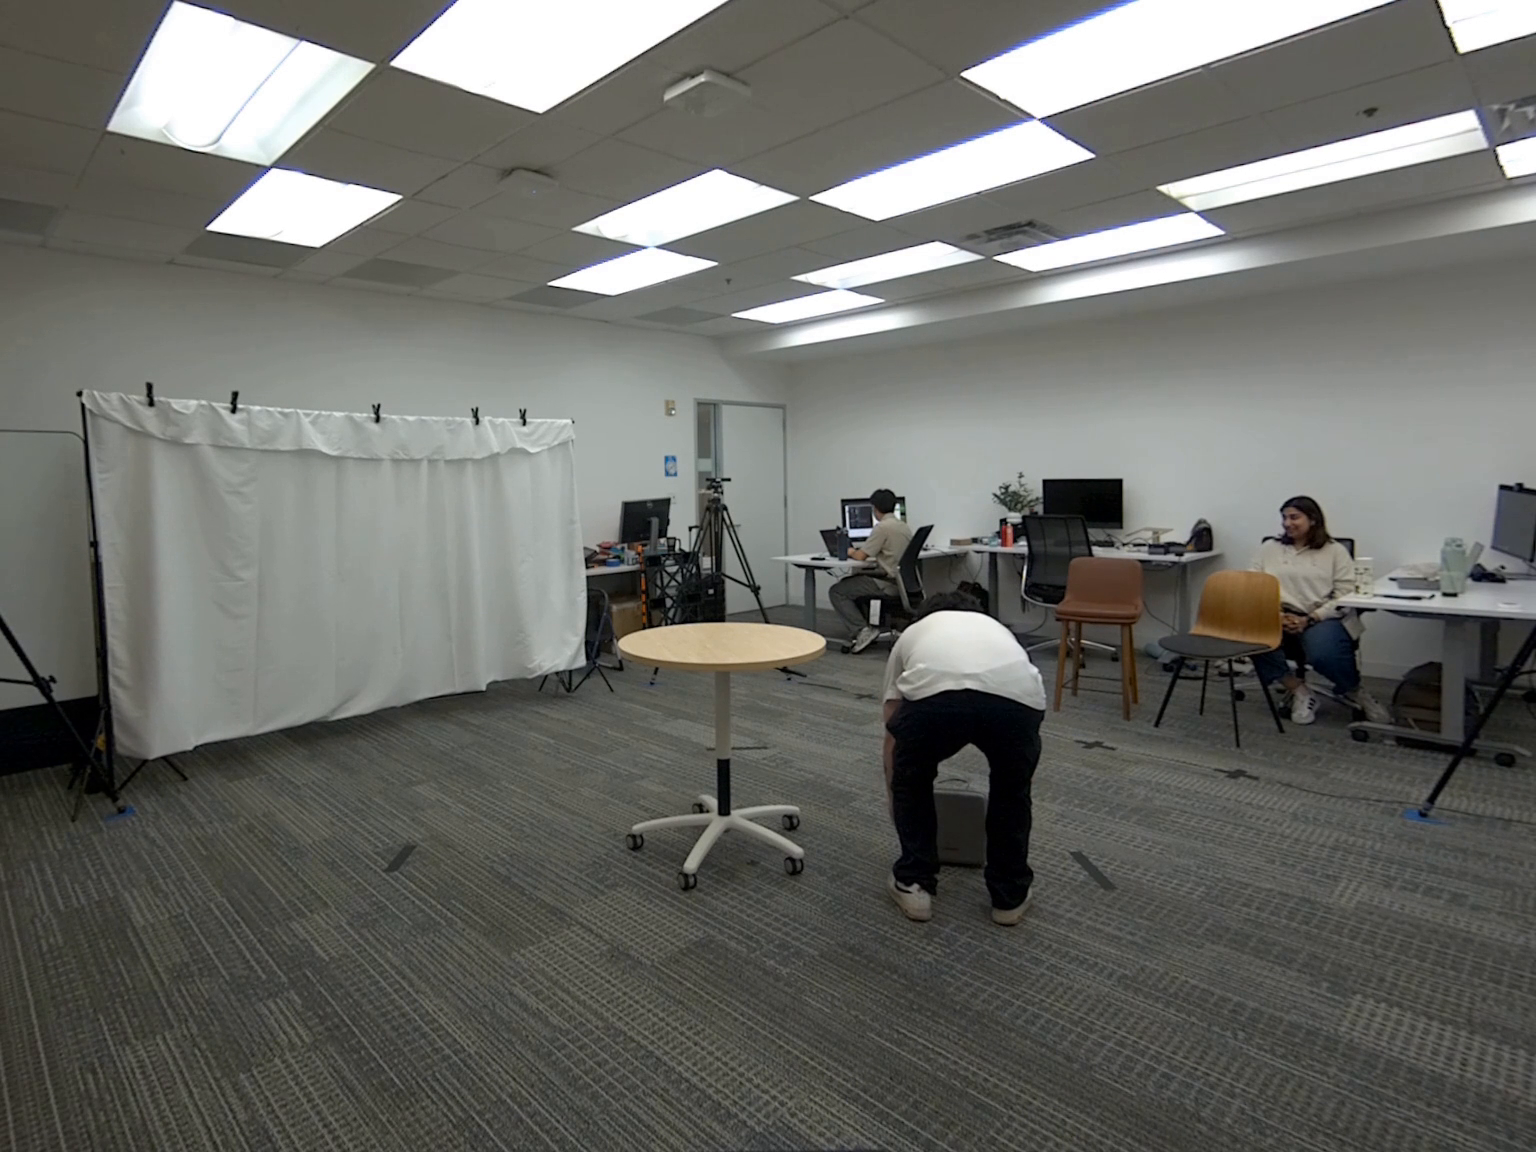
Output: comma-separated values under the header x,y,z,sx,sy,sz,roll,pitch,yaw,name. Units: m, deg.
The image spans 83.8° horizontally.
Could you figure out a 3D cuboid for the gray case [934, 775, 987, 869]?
x,y,z,sx,sy,sz,roll,pitch,yaw,name
0.670,0.908,3.122,0.260,0.262,0.102,1,-7,14,gray case
